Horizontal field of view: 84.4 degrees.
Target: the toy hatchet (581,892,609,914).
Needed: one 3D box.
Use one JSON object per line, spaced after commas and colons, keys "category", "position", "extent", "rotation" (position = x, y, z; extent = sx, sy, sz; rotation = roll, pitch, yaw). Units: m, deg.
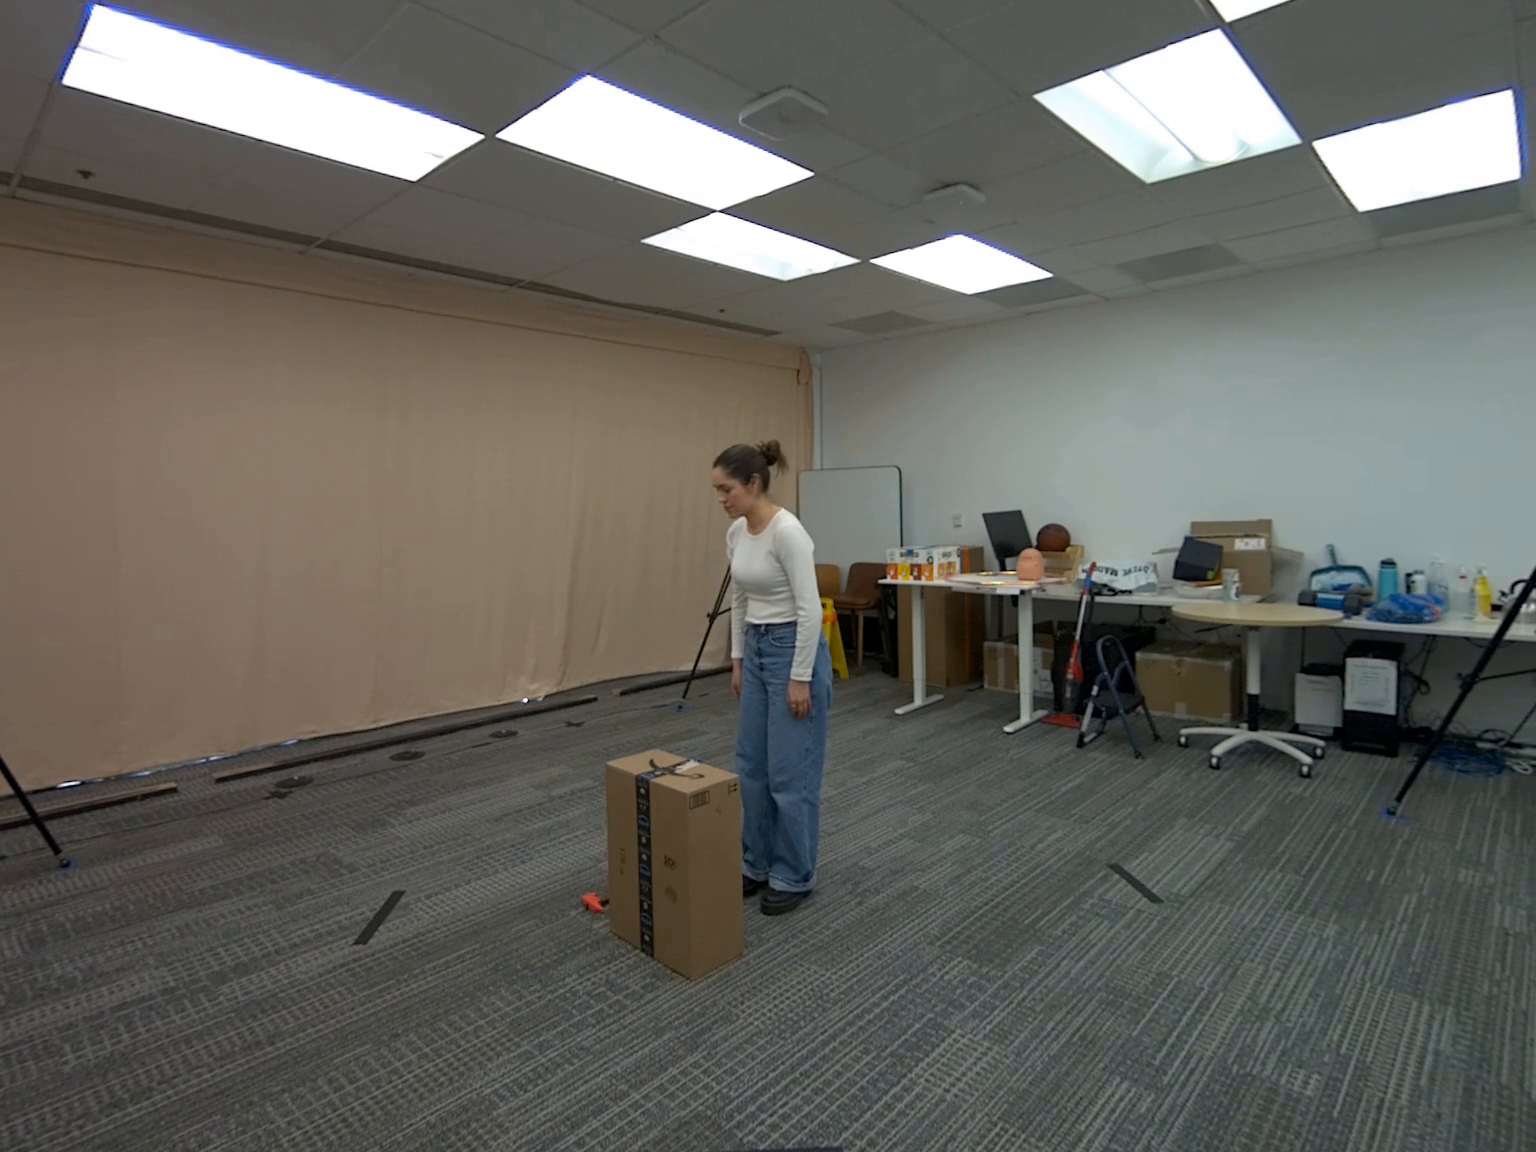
{"category": "toy hatchet", "position": [-0.563, 1.139, 3.027], "extent": [0.135, 0.029, 0.263], "rotation": [0, 4, 30]}
